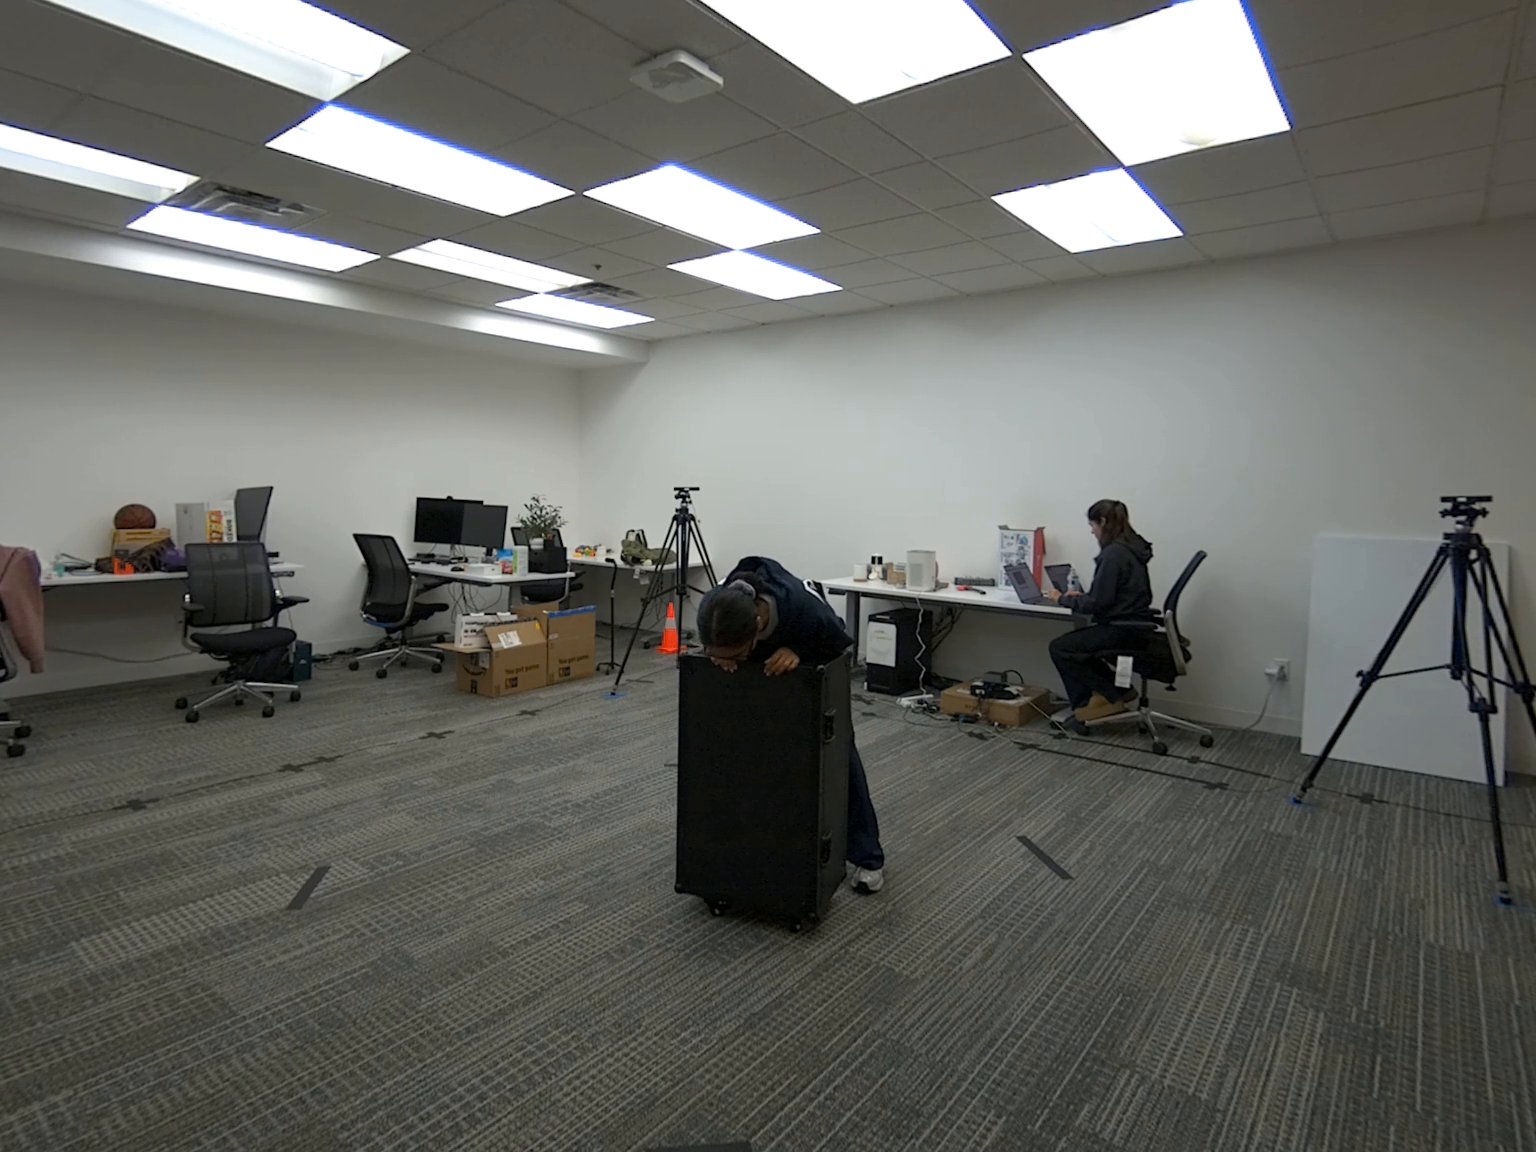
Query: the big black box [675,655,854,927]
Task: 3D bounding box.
[{"bbox_3d":[-0.030,0.674,2.835,0.534,0.860,0.388,2,2,22],"label":"big black box"}]
